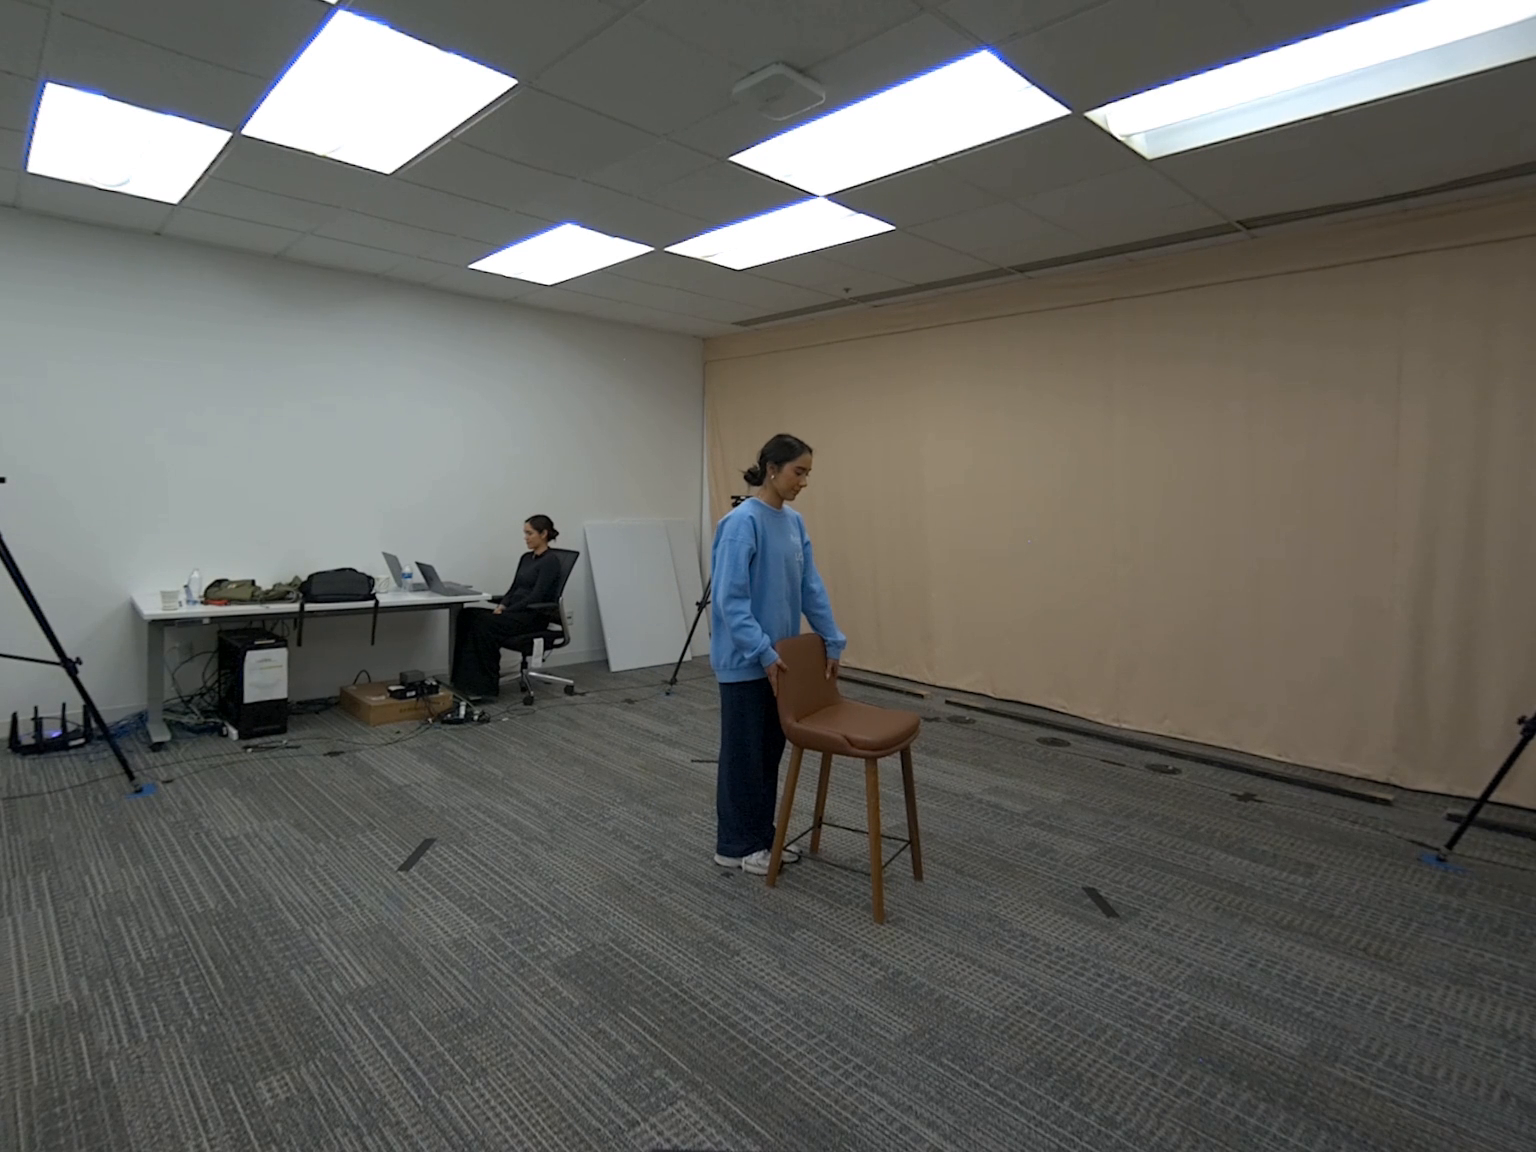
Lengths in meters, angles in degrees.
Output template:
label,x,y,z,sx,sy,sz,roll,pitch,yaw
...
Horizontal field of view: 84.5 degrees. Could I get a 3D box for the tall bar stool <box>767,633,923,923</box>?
label,x,y,z,sx,sy,sz,roll,pitch,yaw
tall bar stool,0.275,0.681,3.031,0.478,0.888,0.447,1,3,32
